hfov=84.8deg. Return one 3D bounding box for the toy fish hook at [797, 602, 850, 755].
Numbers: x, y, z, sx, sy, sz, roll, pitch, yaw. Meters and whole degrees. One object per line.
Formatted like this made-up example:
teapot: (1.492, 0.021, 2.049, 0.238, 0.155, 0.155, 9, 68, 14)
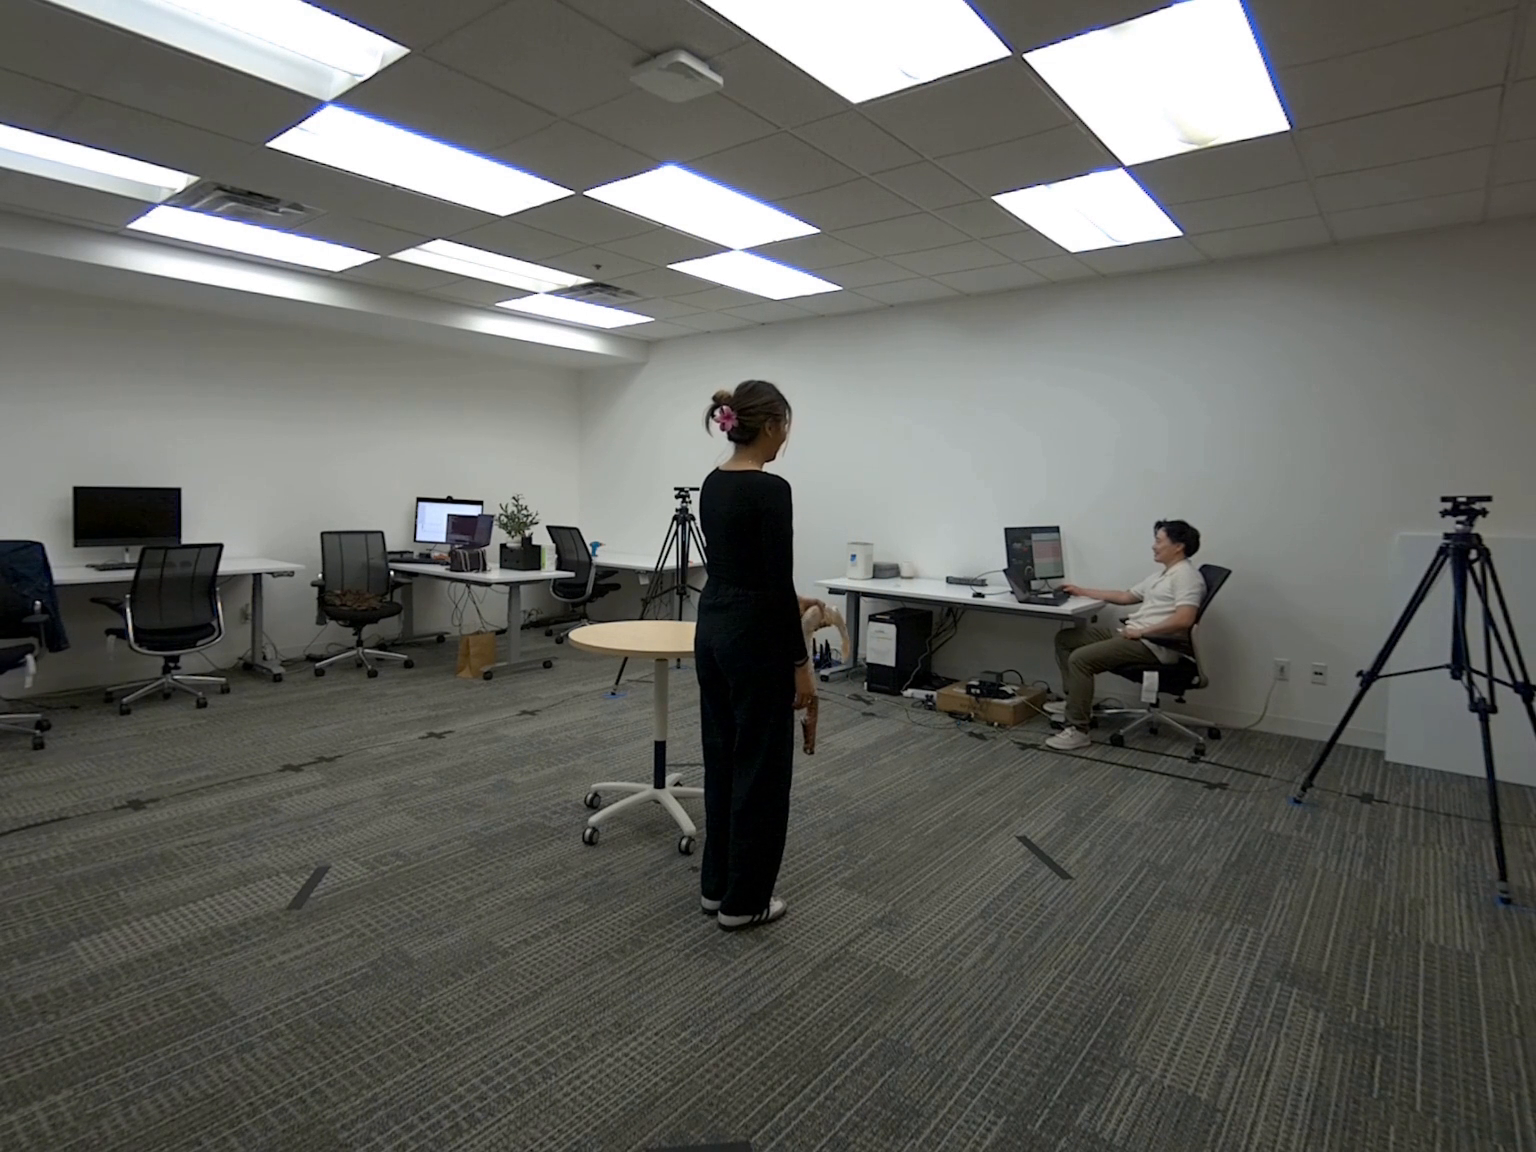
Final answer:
toy fish hook: (0.193, 0.346, 2.928, 0.218, 0.511, 0.049, 6, -9, -26)
